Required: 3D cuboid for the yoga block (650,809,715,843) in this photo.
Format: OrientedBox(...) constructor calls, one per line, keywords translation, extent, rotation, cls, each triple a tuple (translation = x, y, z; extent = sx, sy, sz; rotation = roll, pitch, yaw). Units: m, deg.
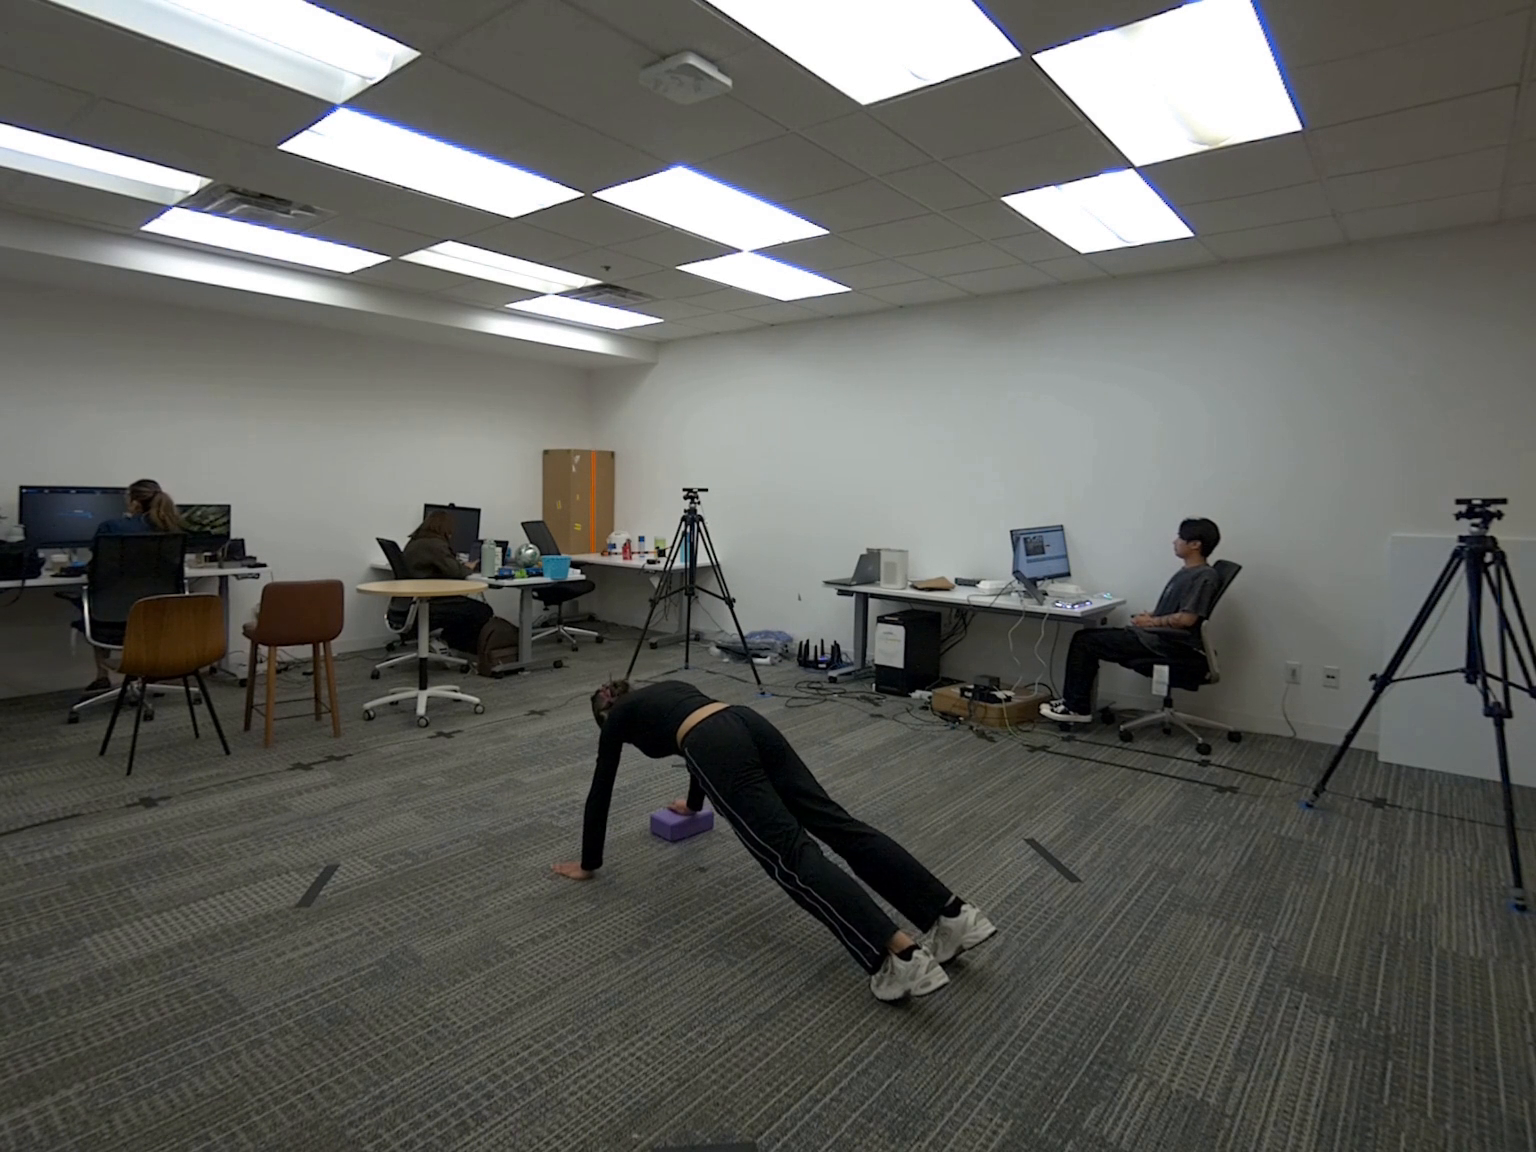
OrientedBox(translation=(-0.359, 0.995, 3.458), extent=(0.222, 0.076, 0.154), rotation=(-2, 5, -43), cls="yoga block")
